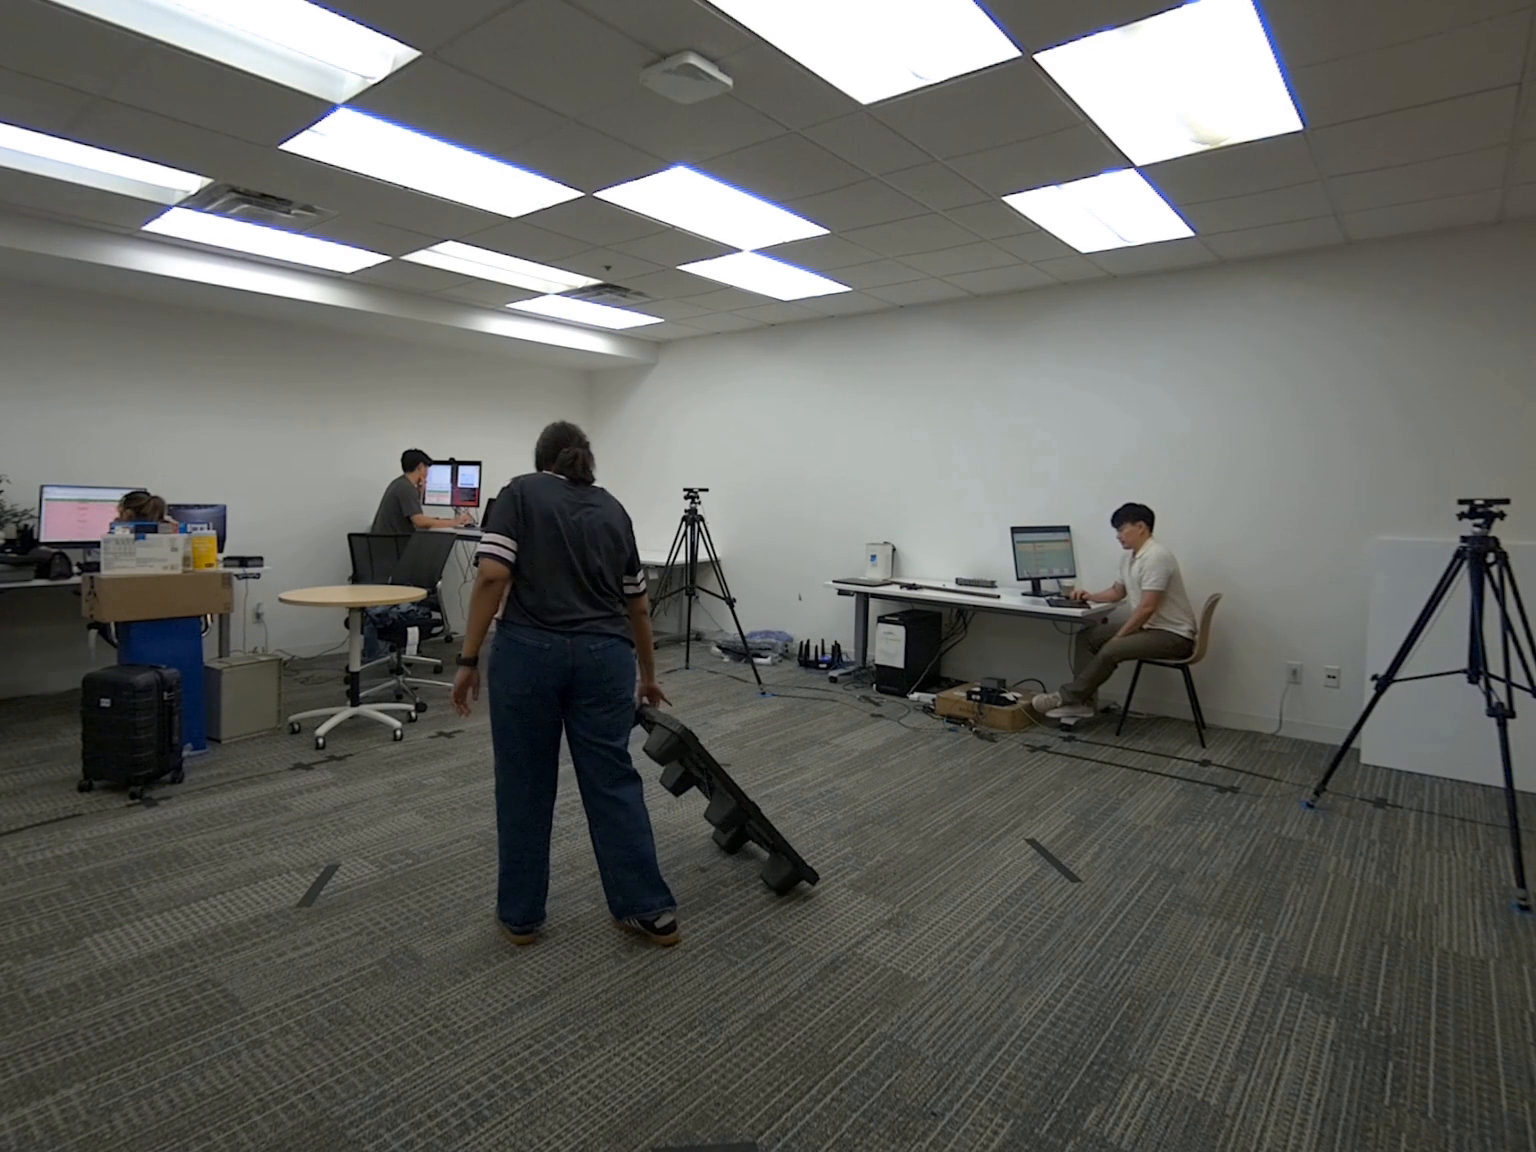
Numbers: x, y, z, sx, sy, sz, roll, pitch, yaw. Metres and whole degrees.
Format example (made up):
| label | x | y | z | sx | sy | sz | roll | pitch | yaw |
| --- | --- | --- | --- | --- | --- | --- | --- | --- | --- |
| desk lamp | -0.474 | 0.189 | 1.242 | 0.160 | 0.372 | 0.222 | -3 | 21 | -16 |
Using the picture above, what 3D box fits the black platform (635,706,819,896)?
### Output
| label | x | y | z | sx | sy | sz | roll | pitch | yaw |
| --- | --- | --- | --- | --- | --- | --- | --- | --- | --- |
| black platform | -0.237 | 0.763 | 3.004 | 0.143 | 0.784 | 0.623 | -44 | 22 | -19 |
